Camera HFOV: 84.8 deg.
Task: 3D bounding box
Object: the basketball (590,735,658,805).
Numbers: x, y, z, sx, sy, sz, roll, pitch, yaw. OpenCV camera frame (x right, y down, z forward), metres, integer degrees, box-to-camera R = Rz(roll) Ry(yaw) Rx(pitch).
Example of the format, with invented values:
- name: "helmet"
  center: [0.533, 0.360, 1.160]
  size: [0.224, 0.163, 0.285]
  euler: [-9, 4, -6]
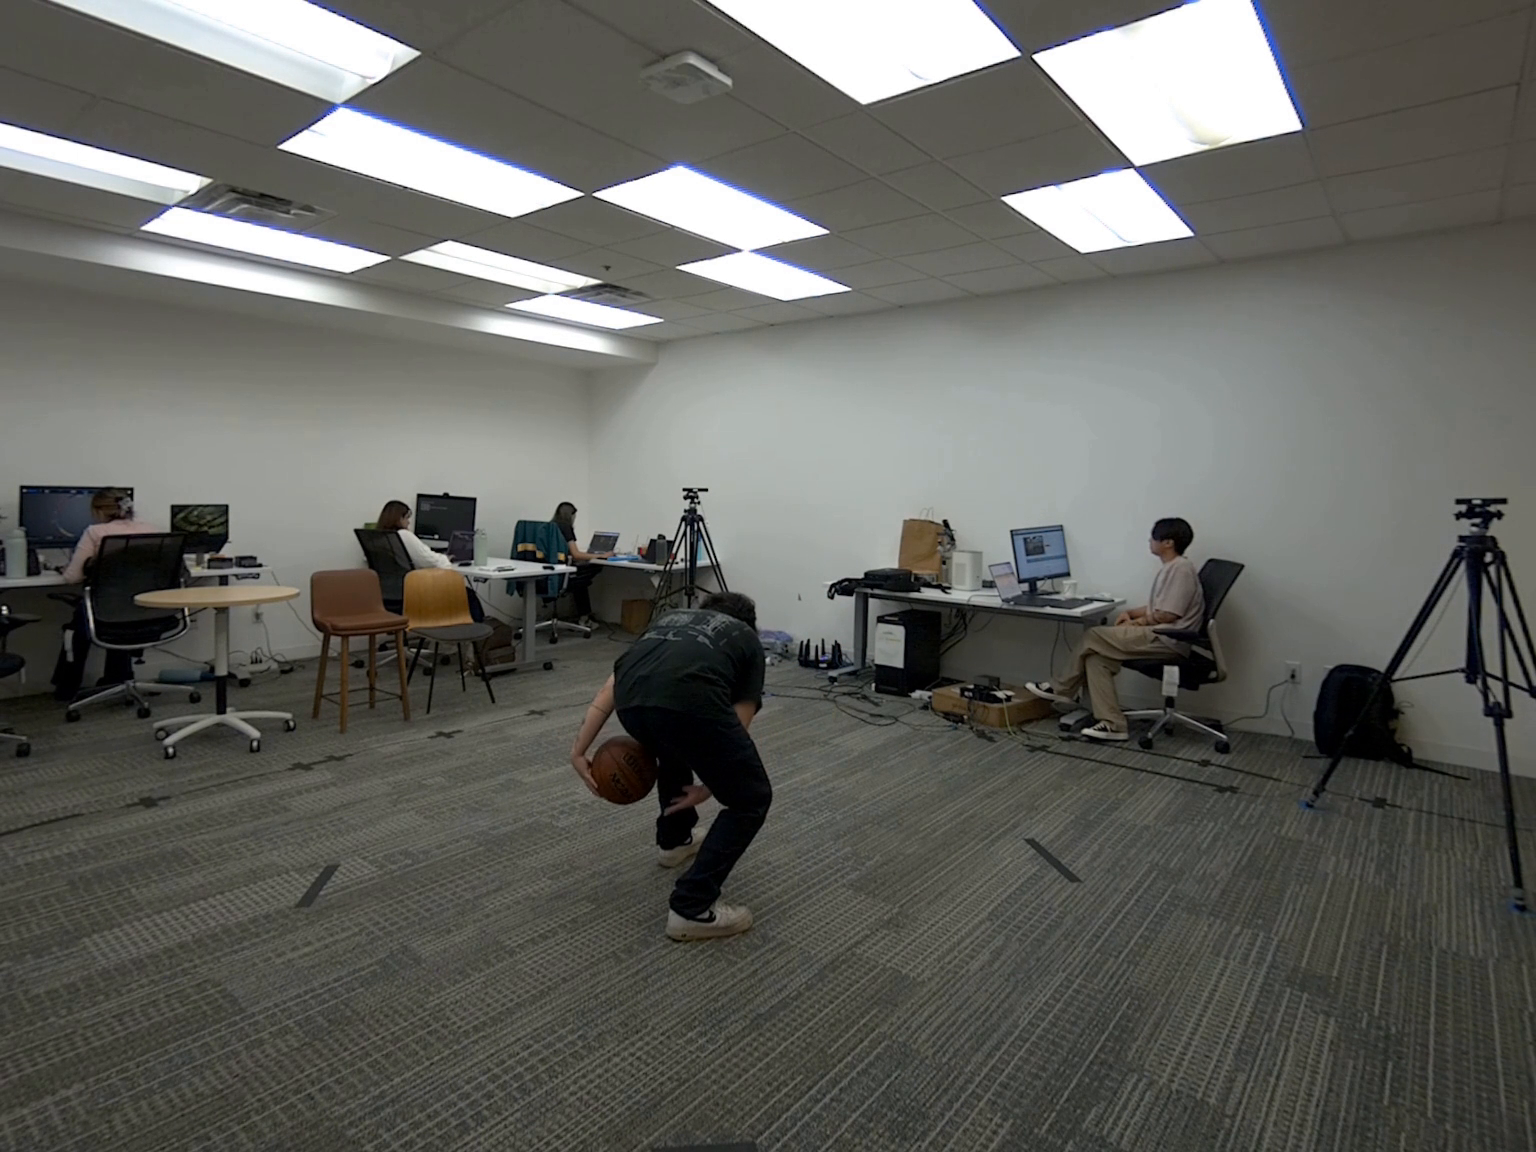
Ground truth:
- name: "basketball"
  center: [-0.513, 0.686, 3.015]
  size: [0.235, 0.235, 0.237]
  euler: [1, 4, -2]
